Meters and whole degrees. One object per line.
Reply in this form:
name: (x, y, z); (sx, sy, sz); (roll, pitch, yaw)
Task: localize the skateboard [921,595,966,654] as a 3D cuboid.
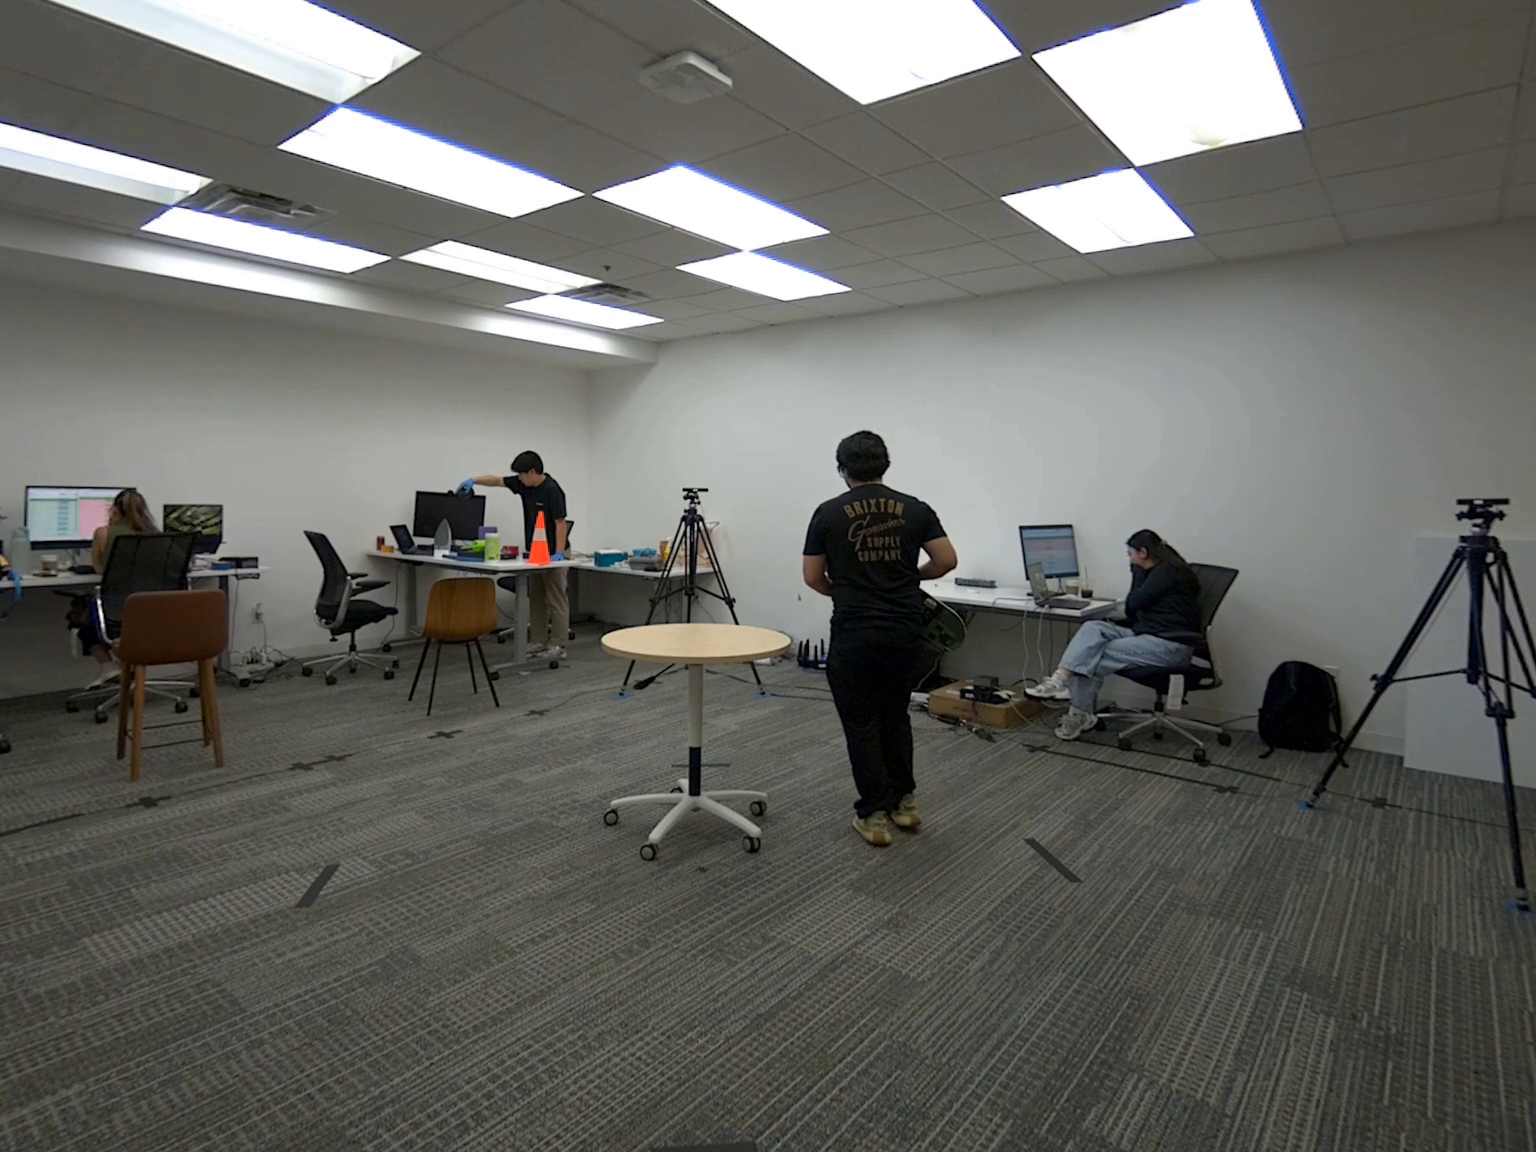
skateboard: (0.492, 0.055, 3.672); (0.805, 0.192, 0.108); (38, 19, 18)
